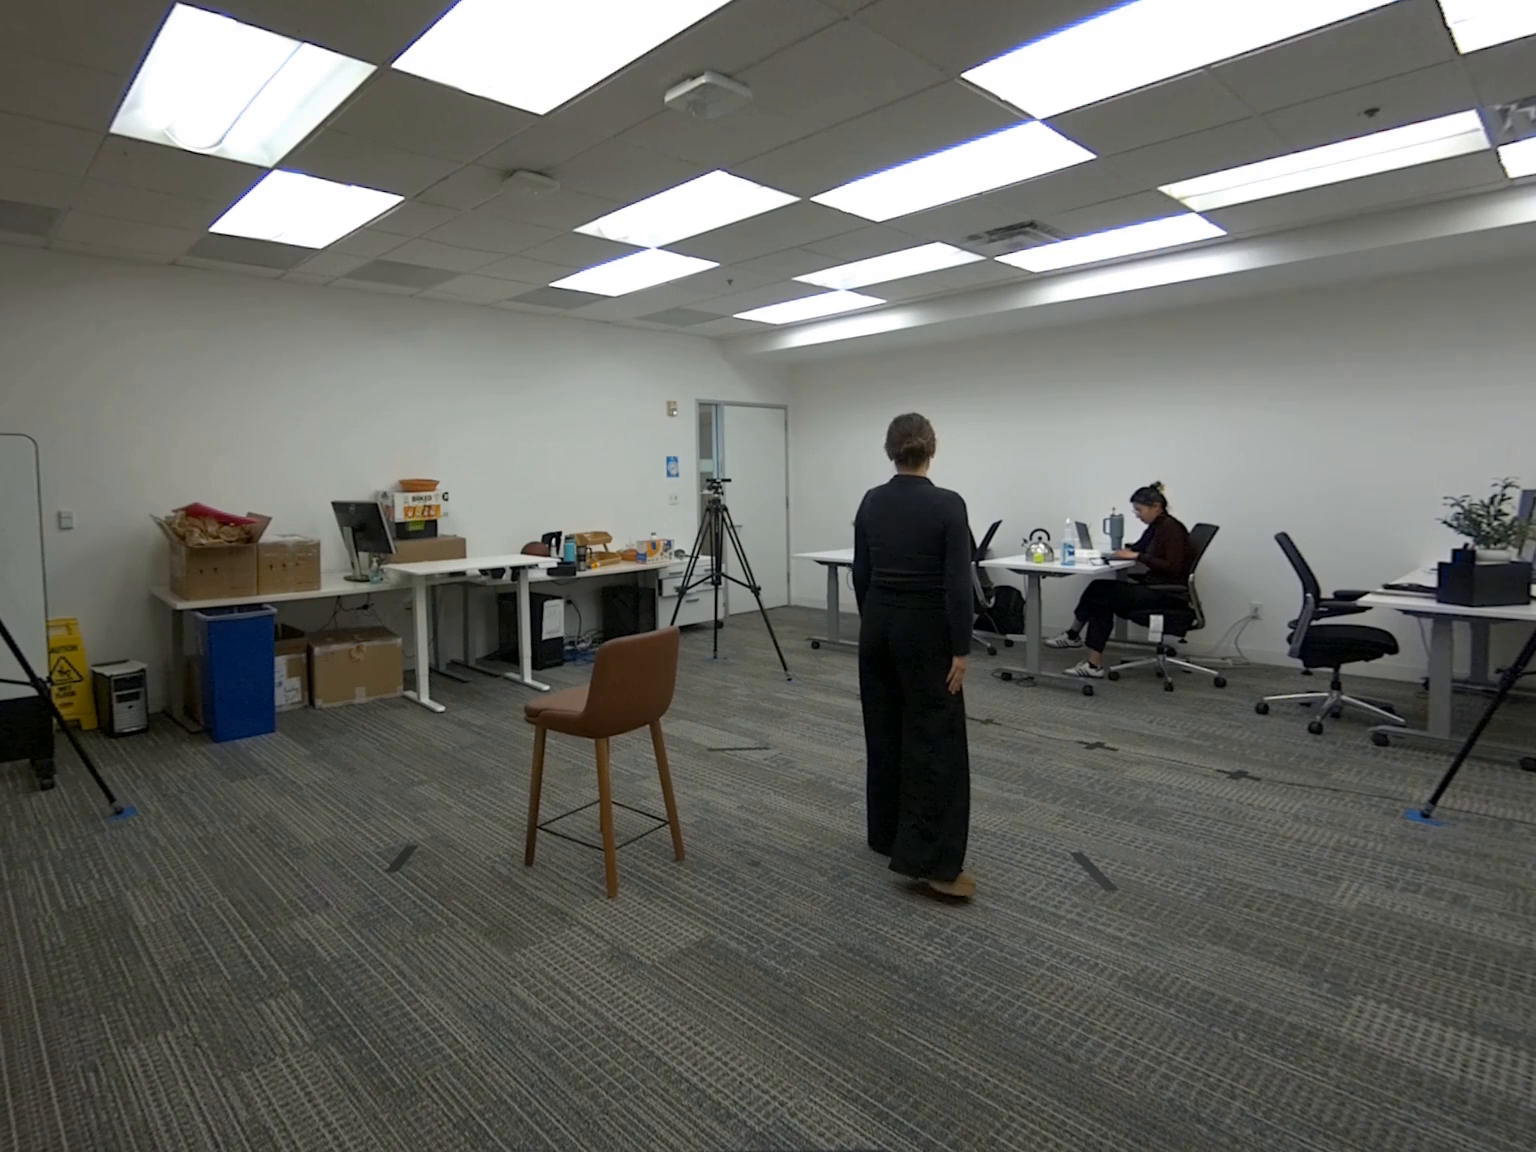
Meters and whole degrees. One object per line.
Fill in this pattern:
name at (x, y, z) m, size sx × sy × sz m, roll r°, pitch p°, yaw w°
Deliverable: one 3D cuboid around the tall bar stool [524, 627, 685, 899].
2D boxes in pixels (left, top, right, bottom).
tall bar stool at (-0.597, 0.619, 3.113) m, size 0.482 × 0.886 × 0.445 m, roll 4°, pitch 6°, yaw 37°
